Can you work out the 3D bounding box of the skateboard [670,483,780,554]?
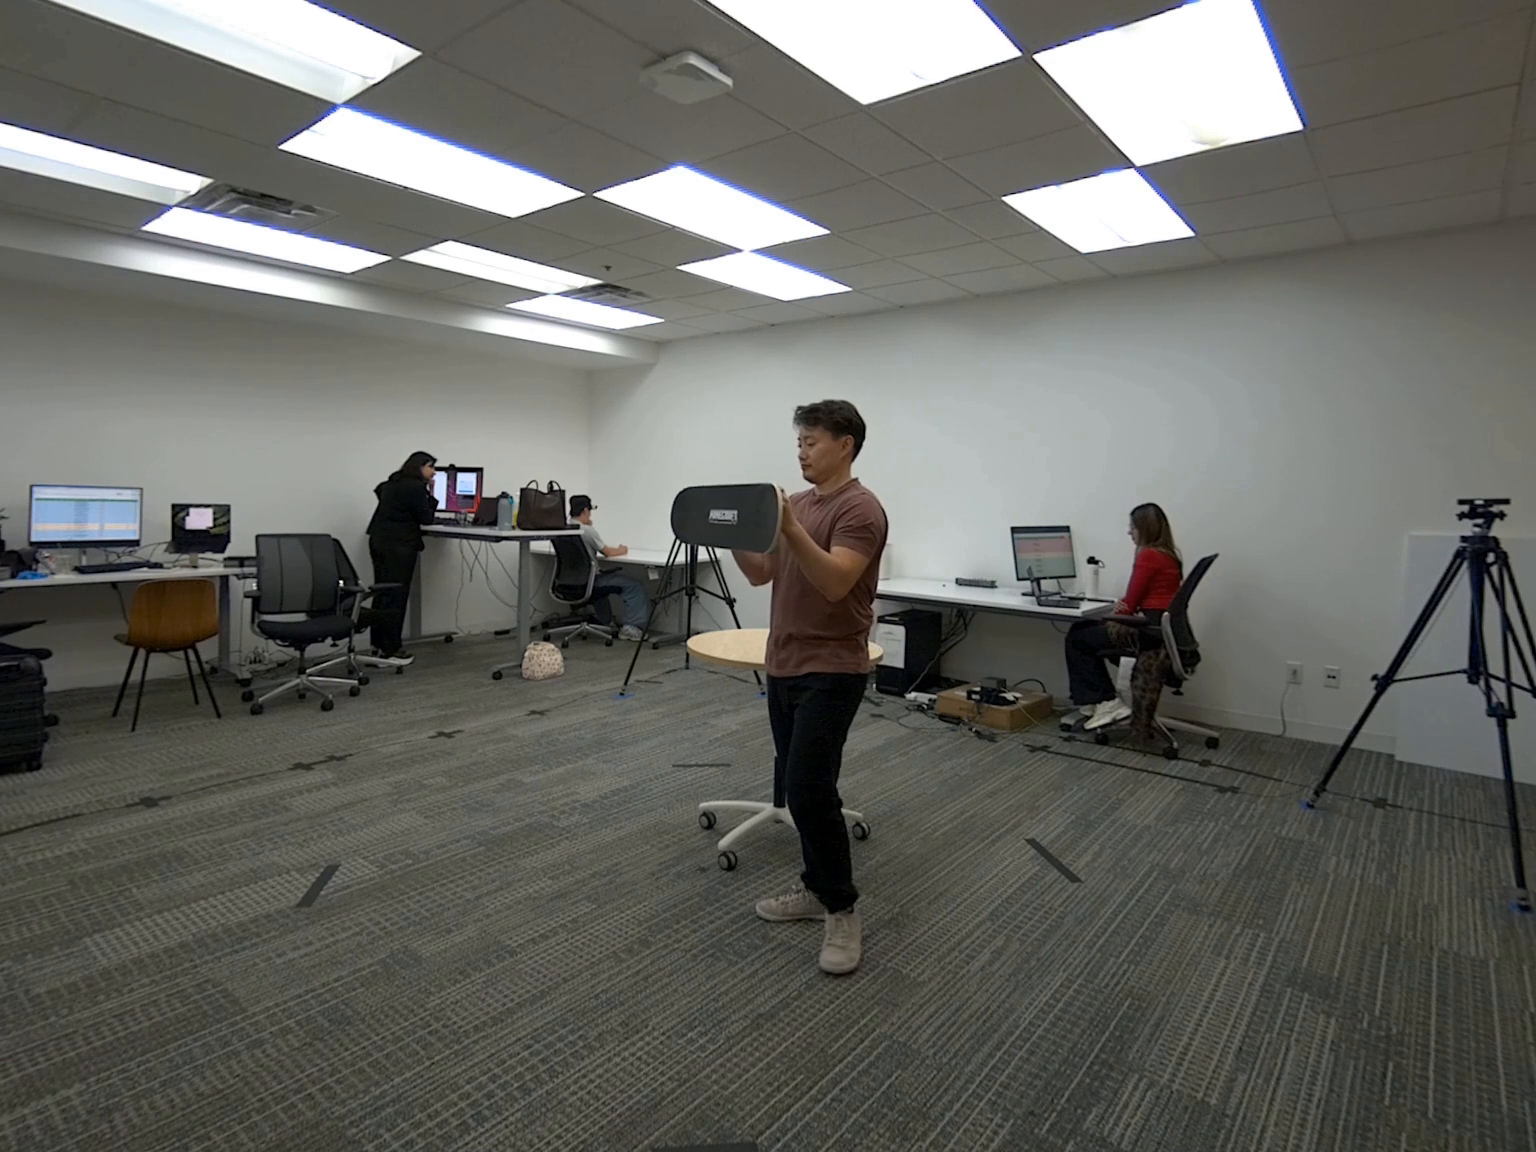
[{"bbox_3d":[-0.113,-0.174,2.548,0.107,0.193,0.807,9,1,-26],"label":"skateboard"}]
